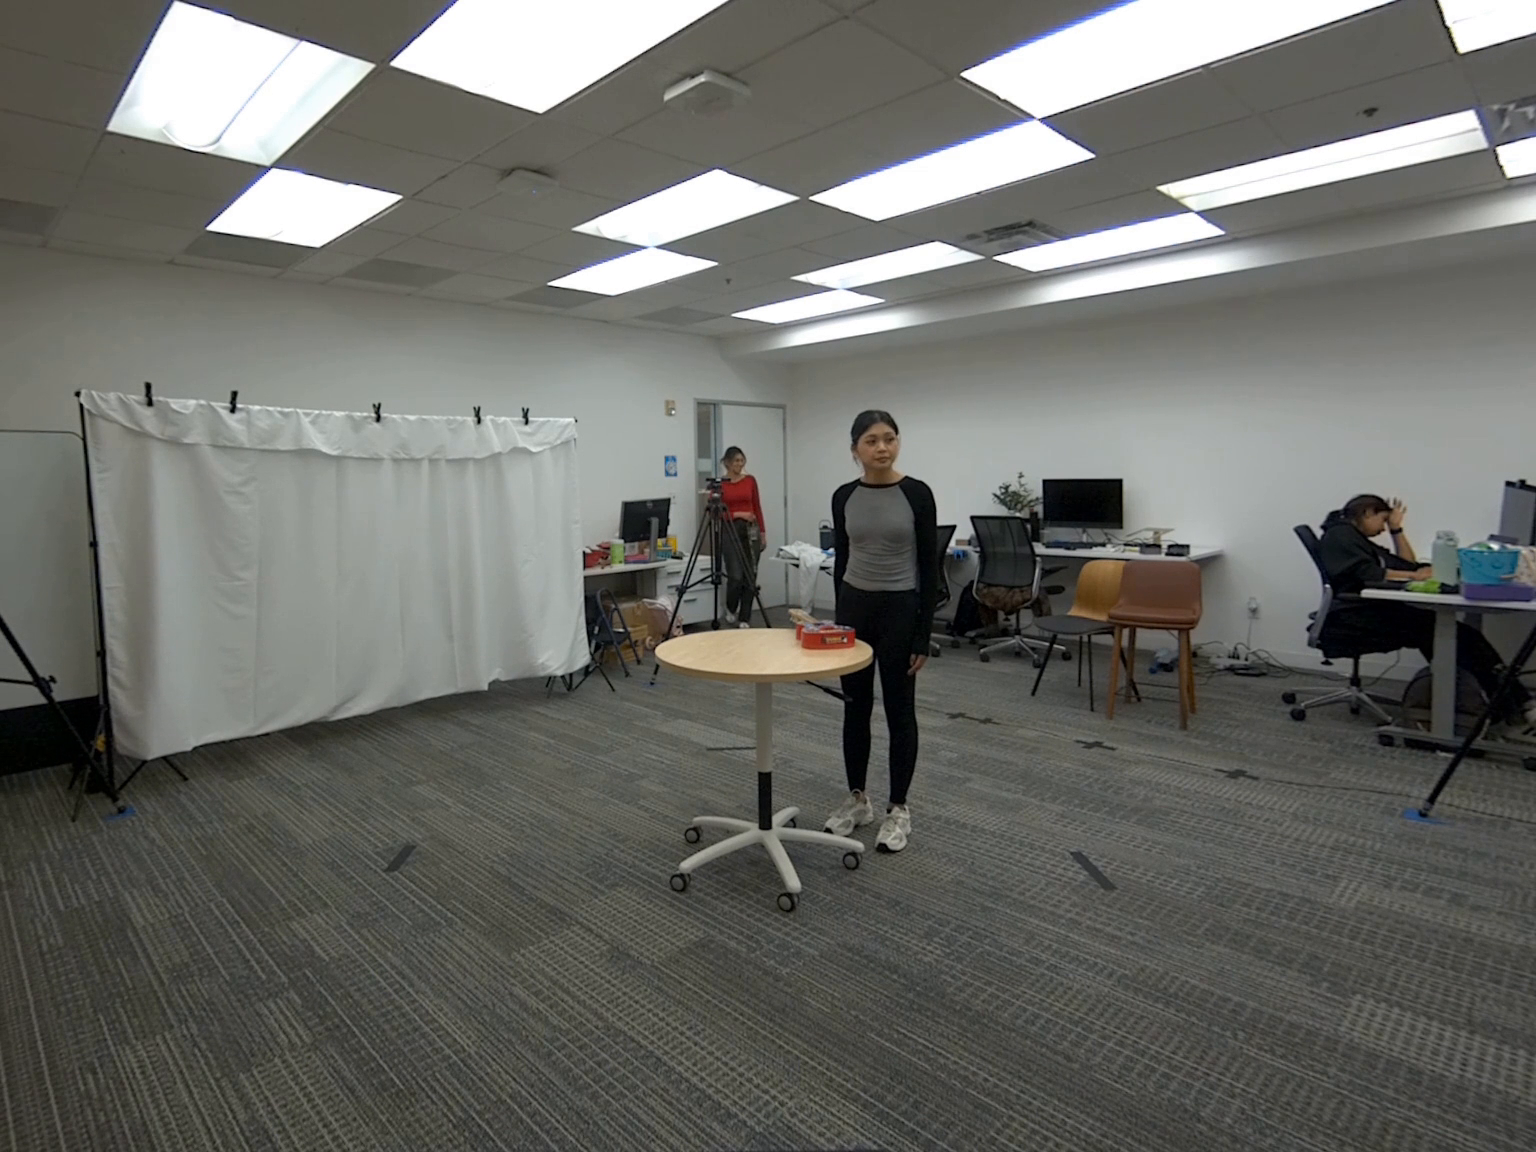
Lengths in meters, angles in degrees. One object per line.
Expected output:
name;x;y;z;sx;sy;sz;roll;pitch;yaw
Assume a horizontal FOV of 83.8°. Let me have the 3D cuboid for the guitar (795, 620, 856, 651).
guitar;0.200;0.196;3.238;0.192;0.070;0.502;-2;7;-5
